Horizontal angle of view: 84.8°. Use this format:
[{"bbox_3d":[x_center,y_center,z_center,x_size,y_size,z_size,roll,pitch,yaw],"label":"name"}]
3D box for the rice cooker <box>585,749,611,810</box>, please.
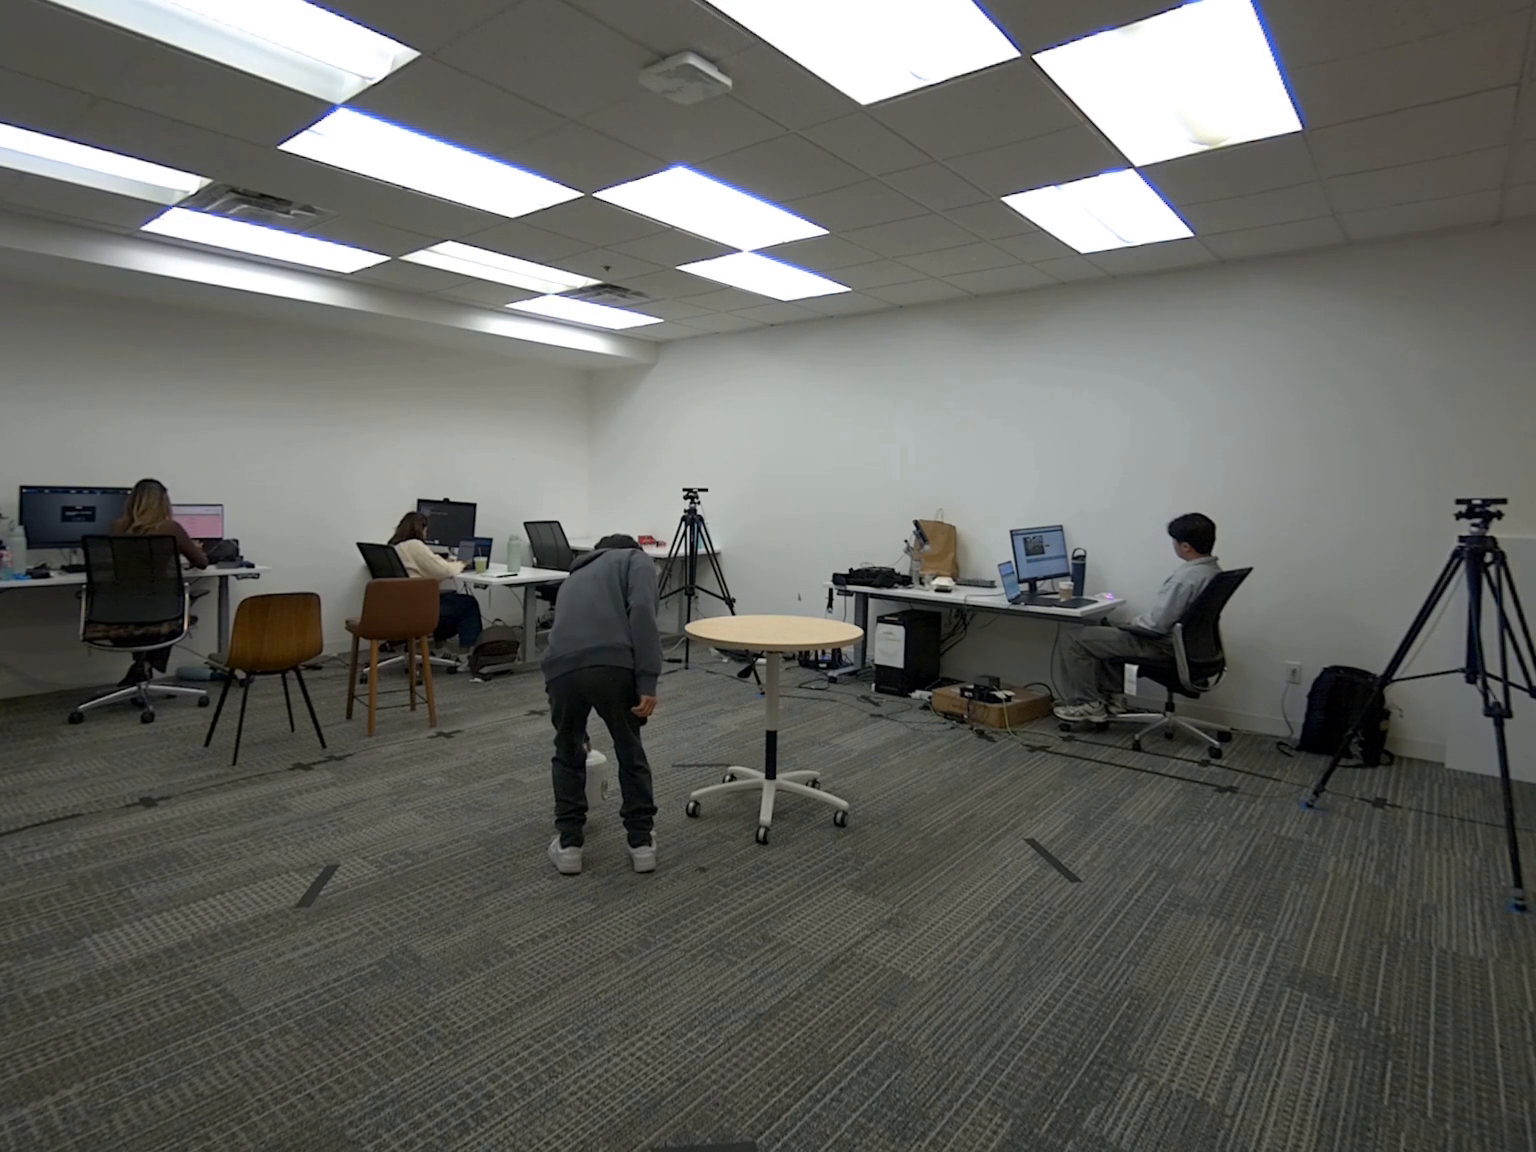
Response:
[{"bbox_3d":[-0.768,0.810,3.462,0.221,0.232,0.217,1,3,17],"label":"rice cooker"}]
